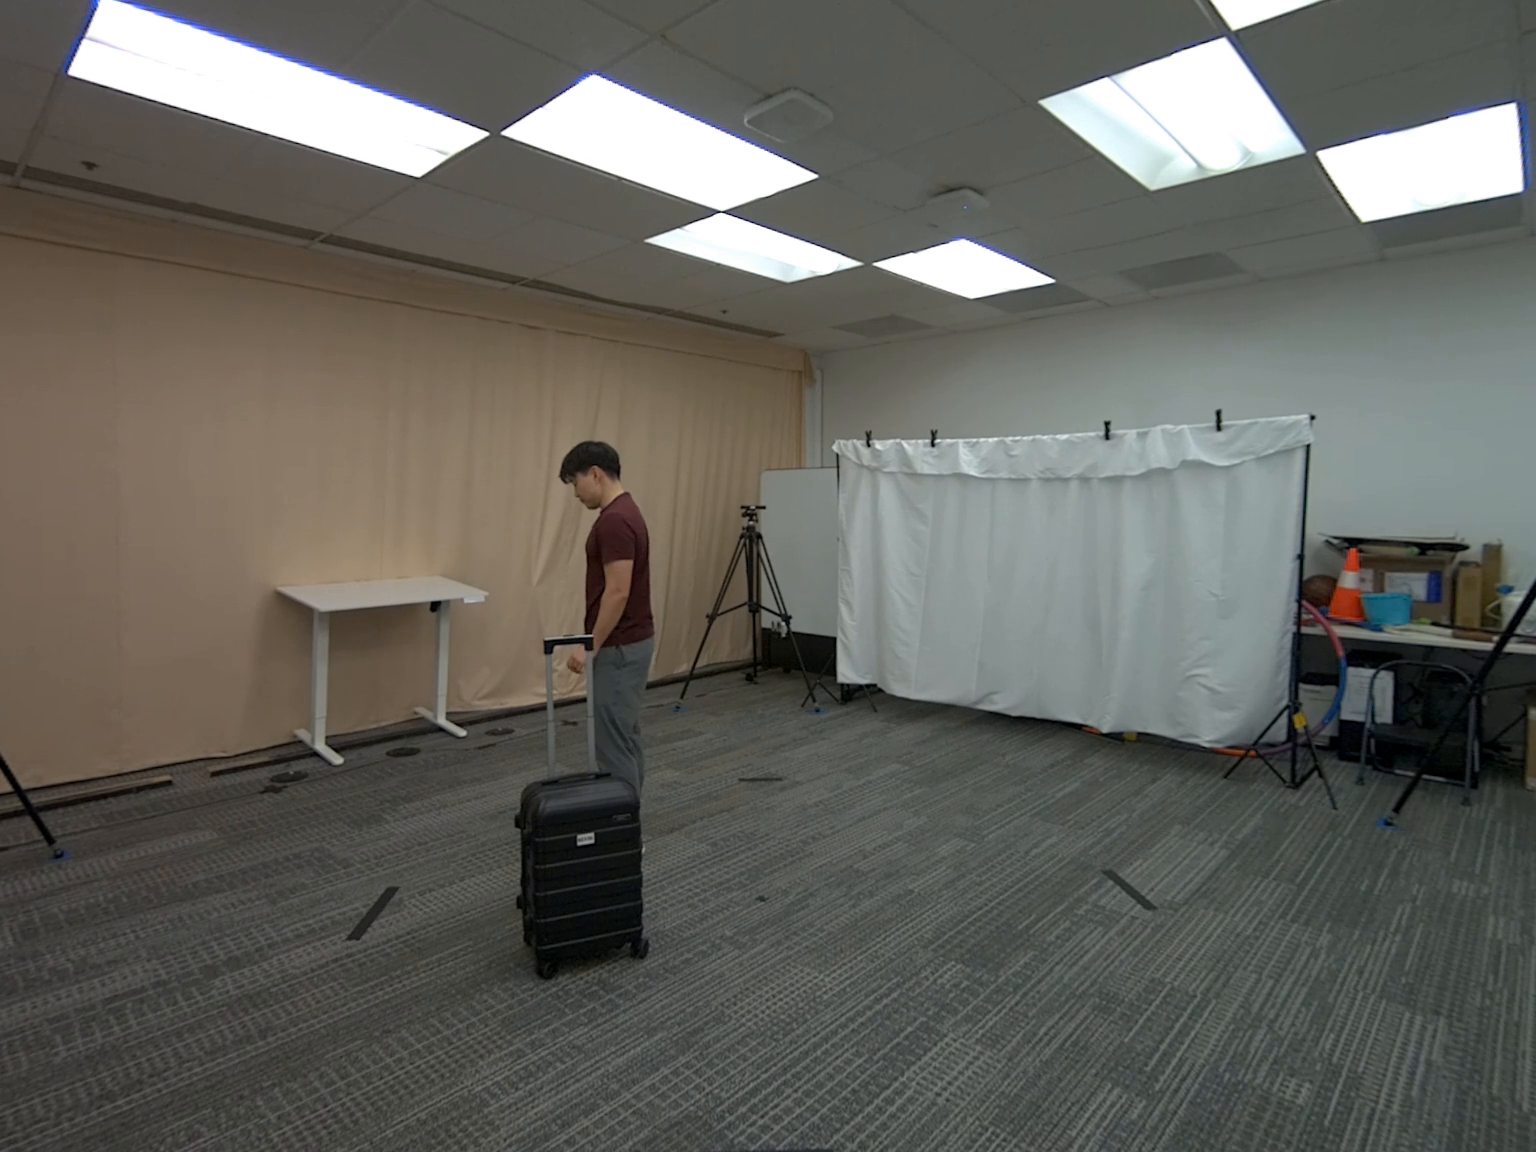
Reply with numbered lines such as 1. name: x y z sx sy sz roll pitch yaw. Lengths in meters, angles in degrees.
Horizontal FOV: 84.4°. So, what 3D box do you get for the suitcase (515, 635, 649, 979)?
1. suitcase: -0.578 0.706 2.598 0.376 0.975 0.263 -3 6 -21
